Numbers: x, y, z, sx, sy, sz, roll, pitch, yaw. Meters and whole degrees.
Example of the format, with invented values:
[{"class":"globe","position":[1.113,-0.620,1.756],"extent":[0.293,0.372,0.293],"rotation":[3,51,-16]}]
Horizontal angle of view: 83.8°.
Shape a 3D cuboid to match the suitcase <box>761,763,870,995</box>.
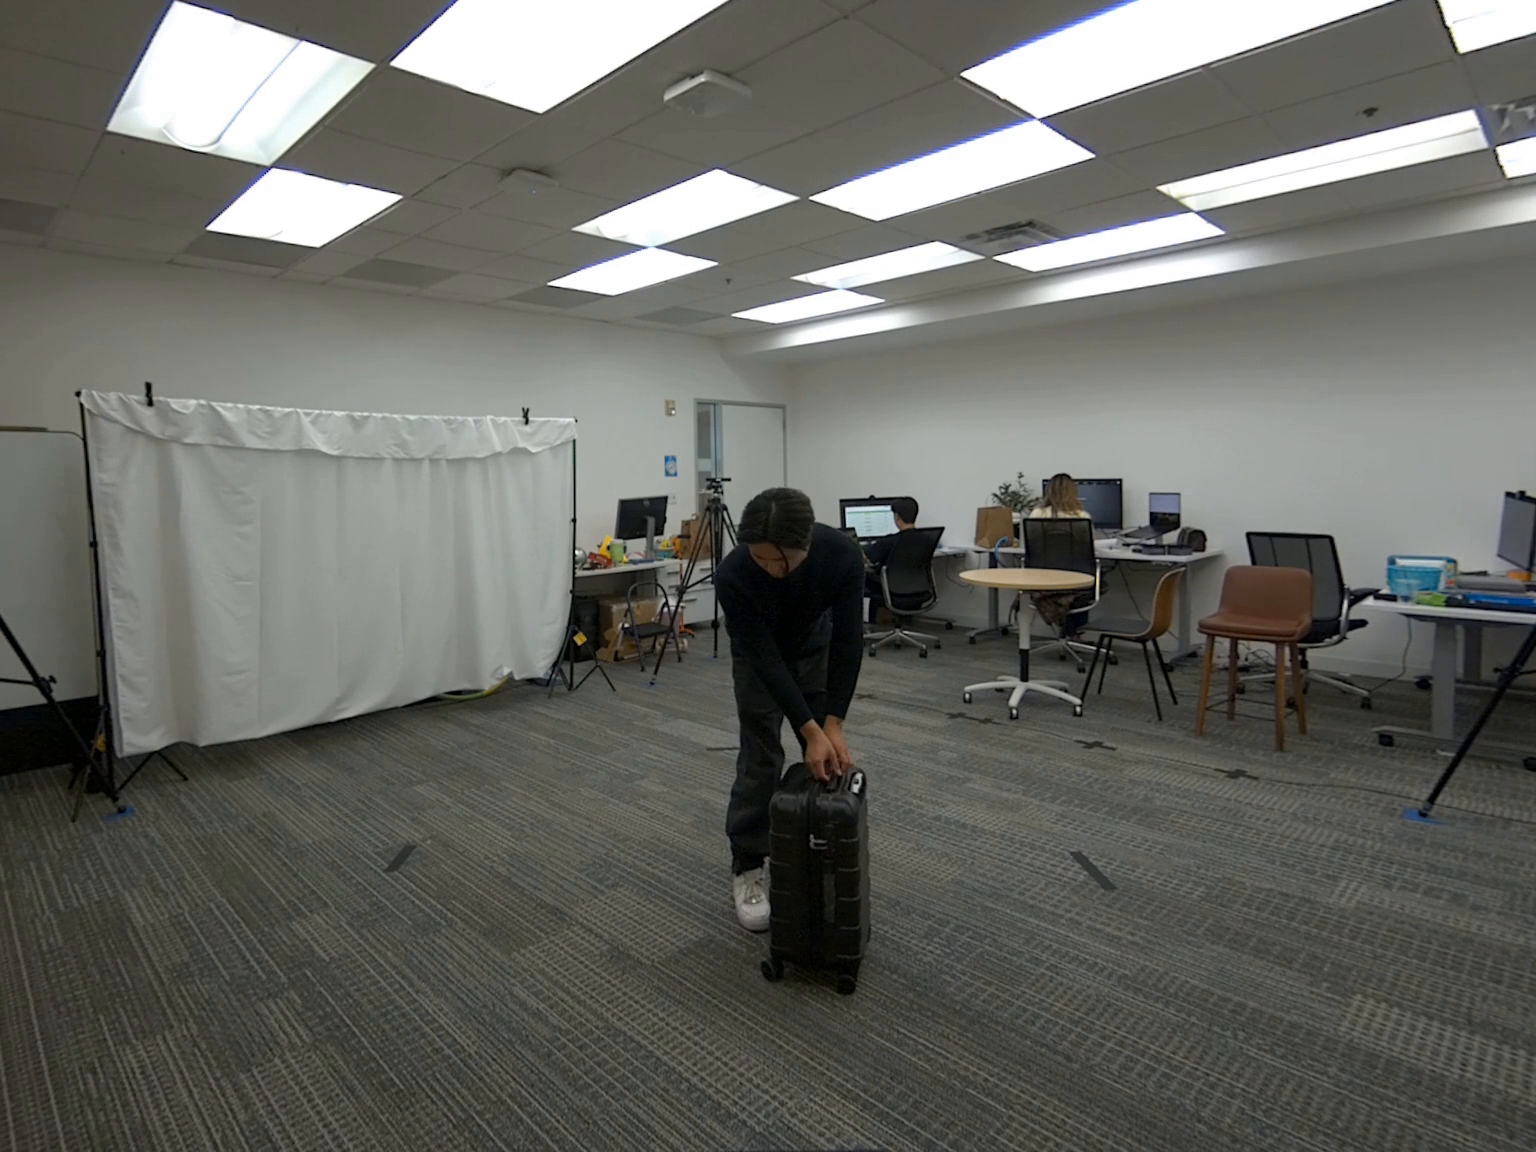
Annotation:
[{"class":"suitcase","position":[0.160,0.841,2.466],"extent":[0.252,0.547,0.372],"rotation":[-1,5,13]}]
